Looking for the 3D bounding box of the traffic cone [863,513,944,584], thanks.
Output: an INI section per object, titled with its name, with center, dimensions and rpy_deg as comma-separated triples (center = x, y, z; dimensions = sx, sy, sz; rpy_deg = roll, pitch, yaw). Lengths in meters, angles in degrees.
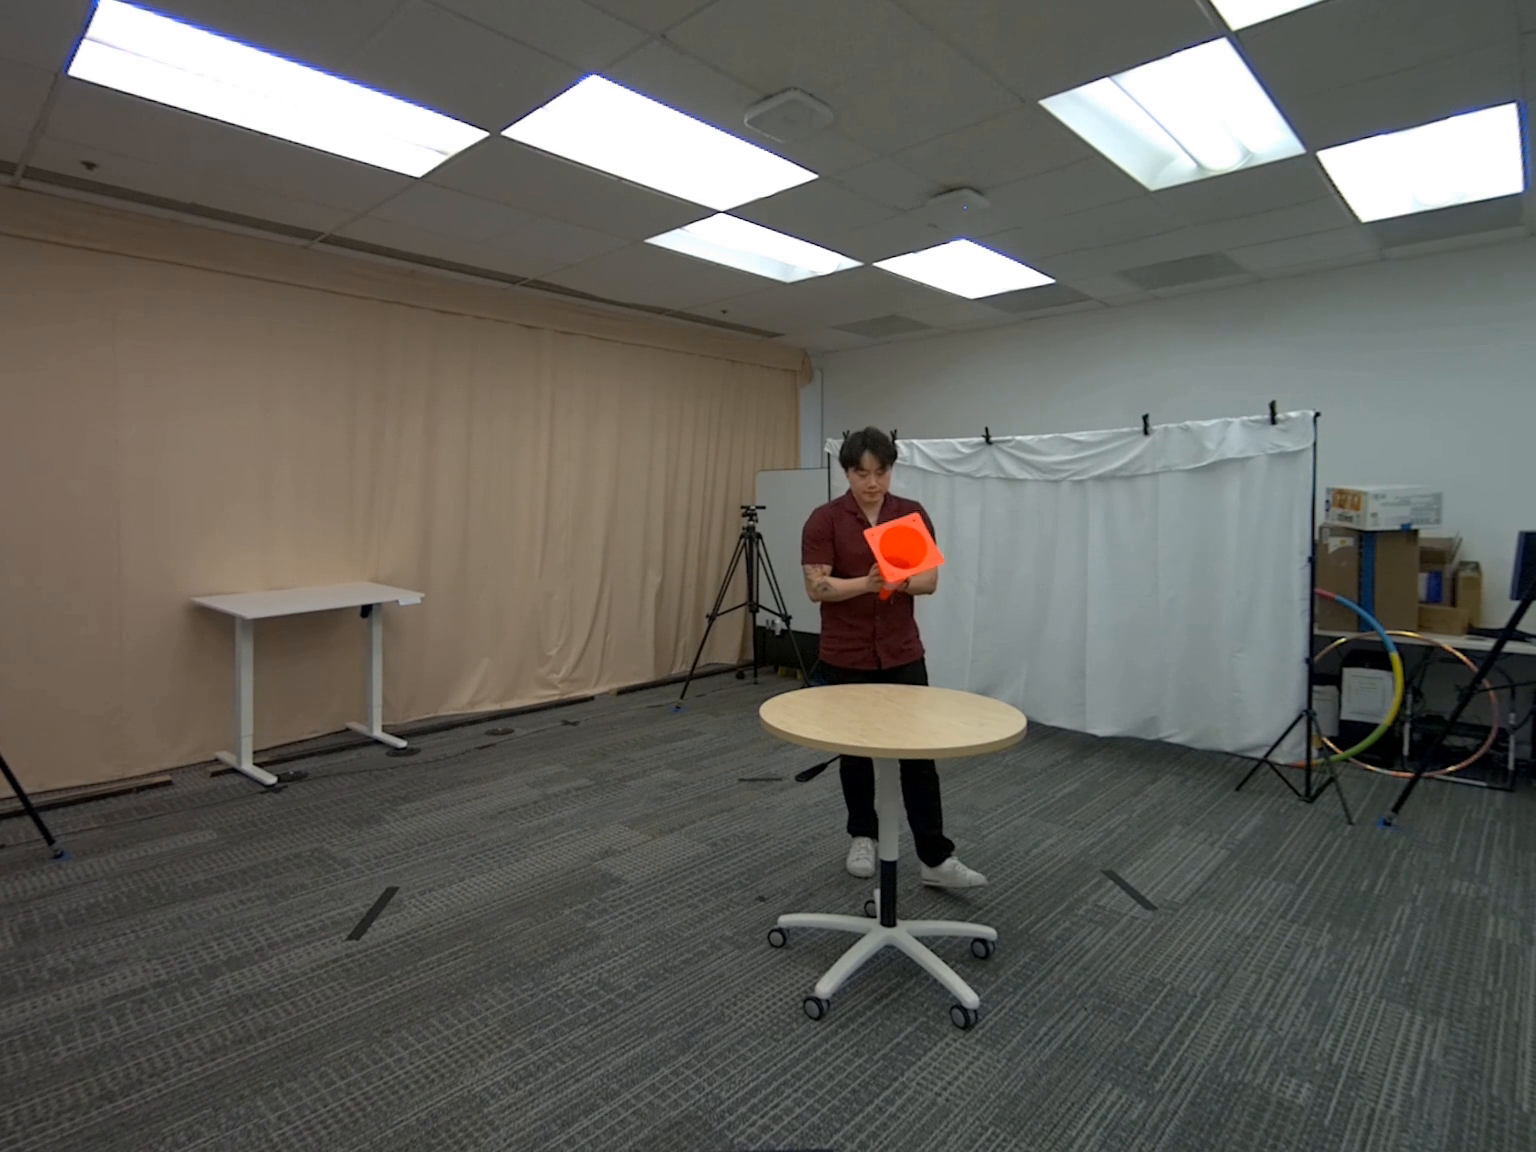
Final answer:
[traffic cone]
center = 0.423, -0.014, 2.870
dimensions = 0.201, 0.209, 0.379
rpy_deg = -21, -22, -14
